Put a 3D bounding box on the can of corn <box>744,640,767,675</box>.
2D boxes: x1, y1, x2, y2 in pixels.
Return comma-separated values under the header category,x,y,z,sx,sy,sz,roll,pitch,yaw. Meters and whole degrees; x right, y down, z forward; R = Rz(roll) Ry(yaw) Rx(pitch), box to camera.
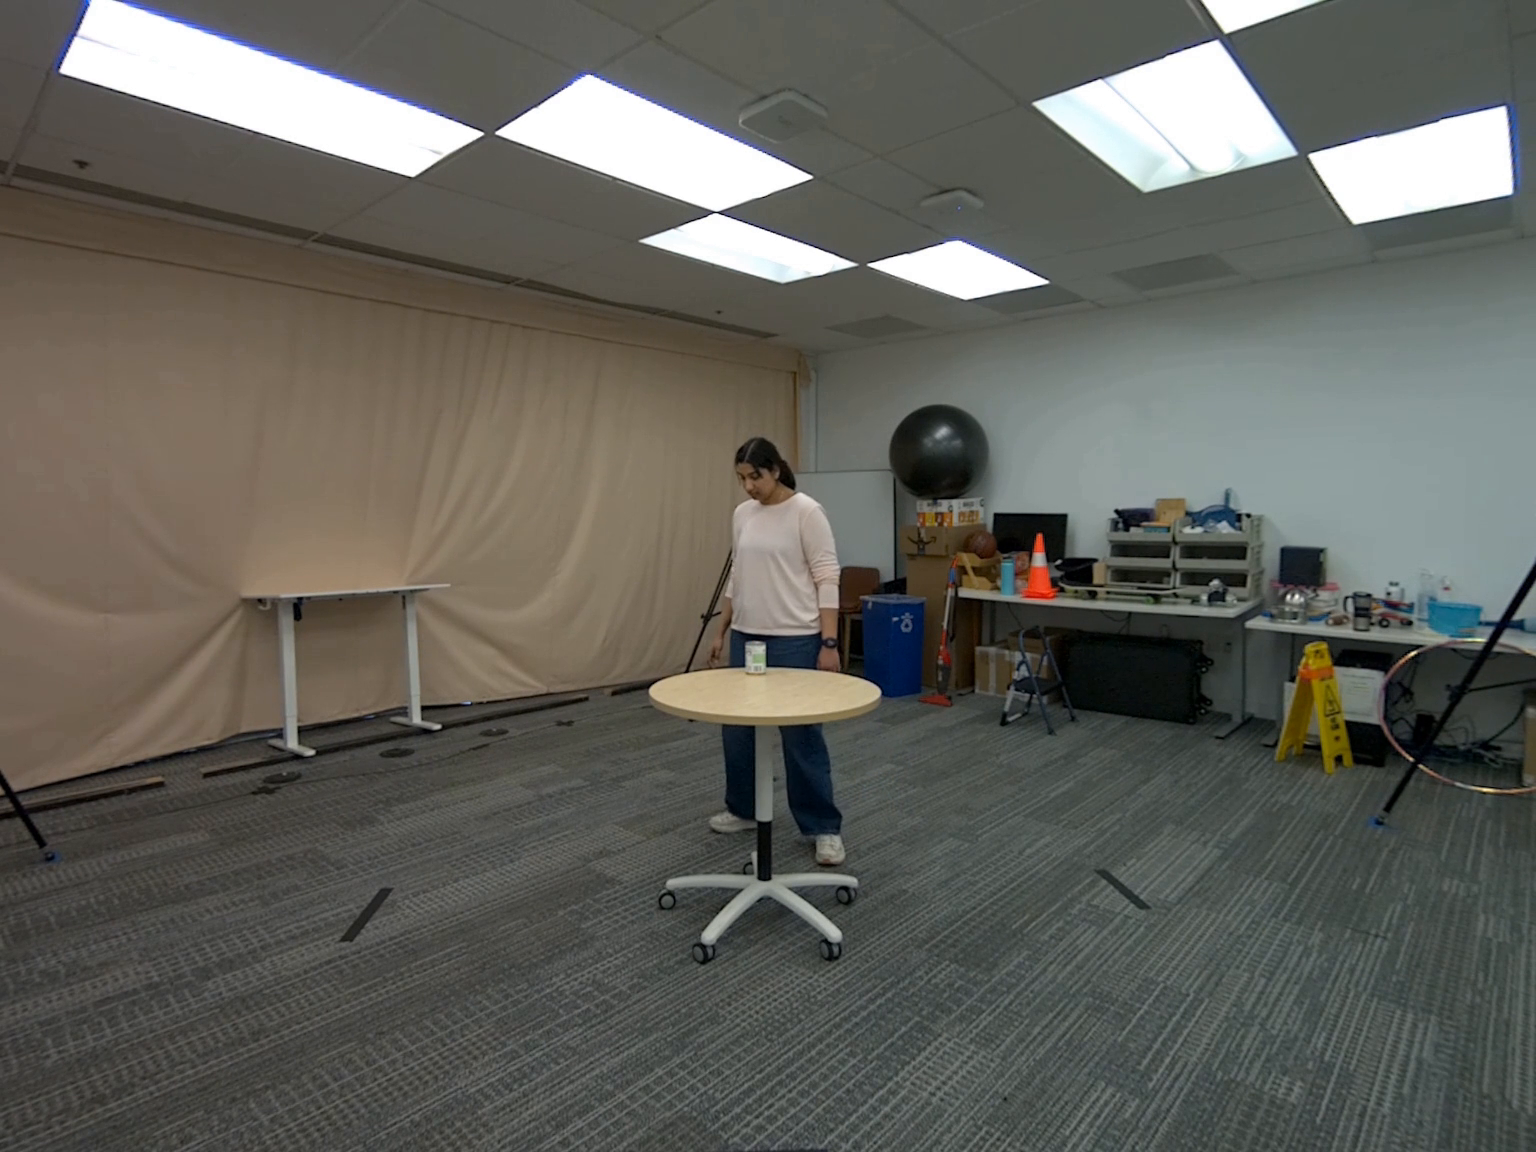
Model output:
category,x,y,z,sx,sy,sz,roll,pitch,yaw
can of corn,-0.046,0.304,3.068,0.074,0.111,0.074,-3,2,-2
